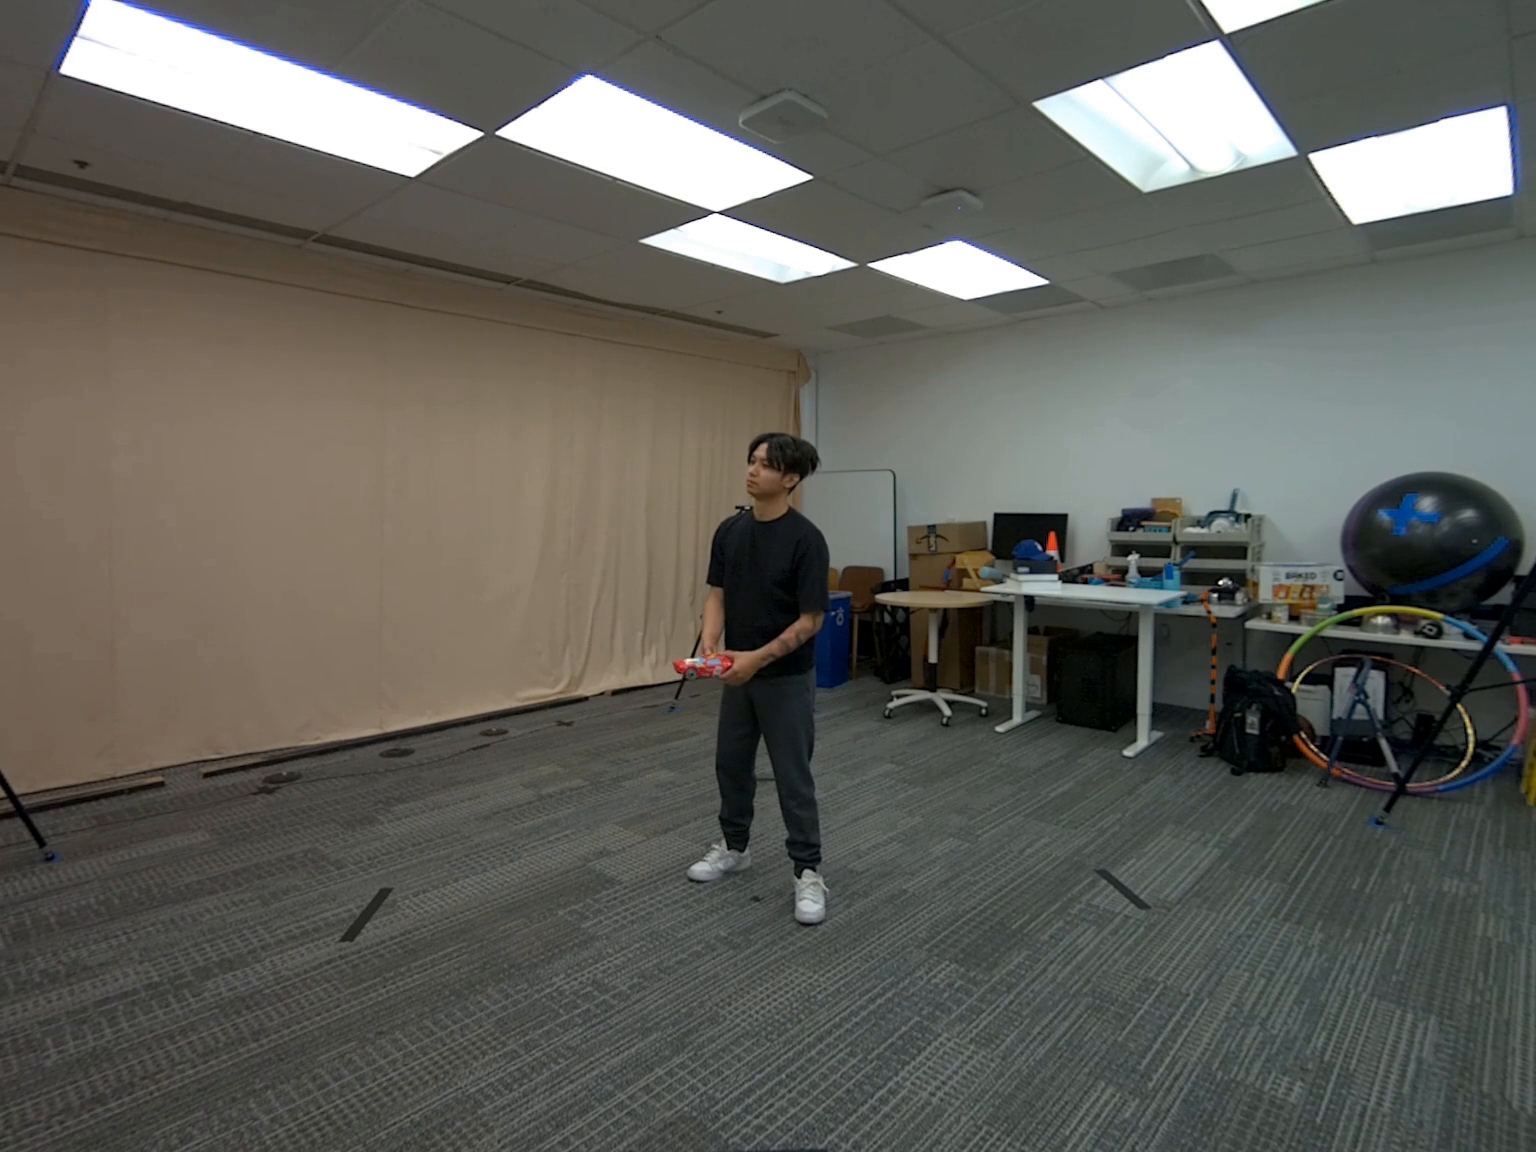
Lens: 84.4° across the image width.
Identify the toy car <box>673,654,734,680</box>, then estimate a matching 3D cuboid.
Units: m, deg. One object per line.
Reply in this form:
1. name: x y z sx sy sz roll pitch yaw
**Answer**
1. toy car: -0.172 0.303 2.798 0.250 0.083 0.133 -10 10 -21
